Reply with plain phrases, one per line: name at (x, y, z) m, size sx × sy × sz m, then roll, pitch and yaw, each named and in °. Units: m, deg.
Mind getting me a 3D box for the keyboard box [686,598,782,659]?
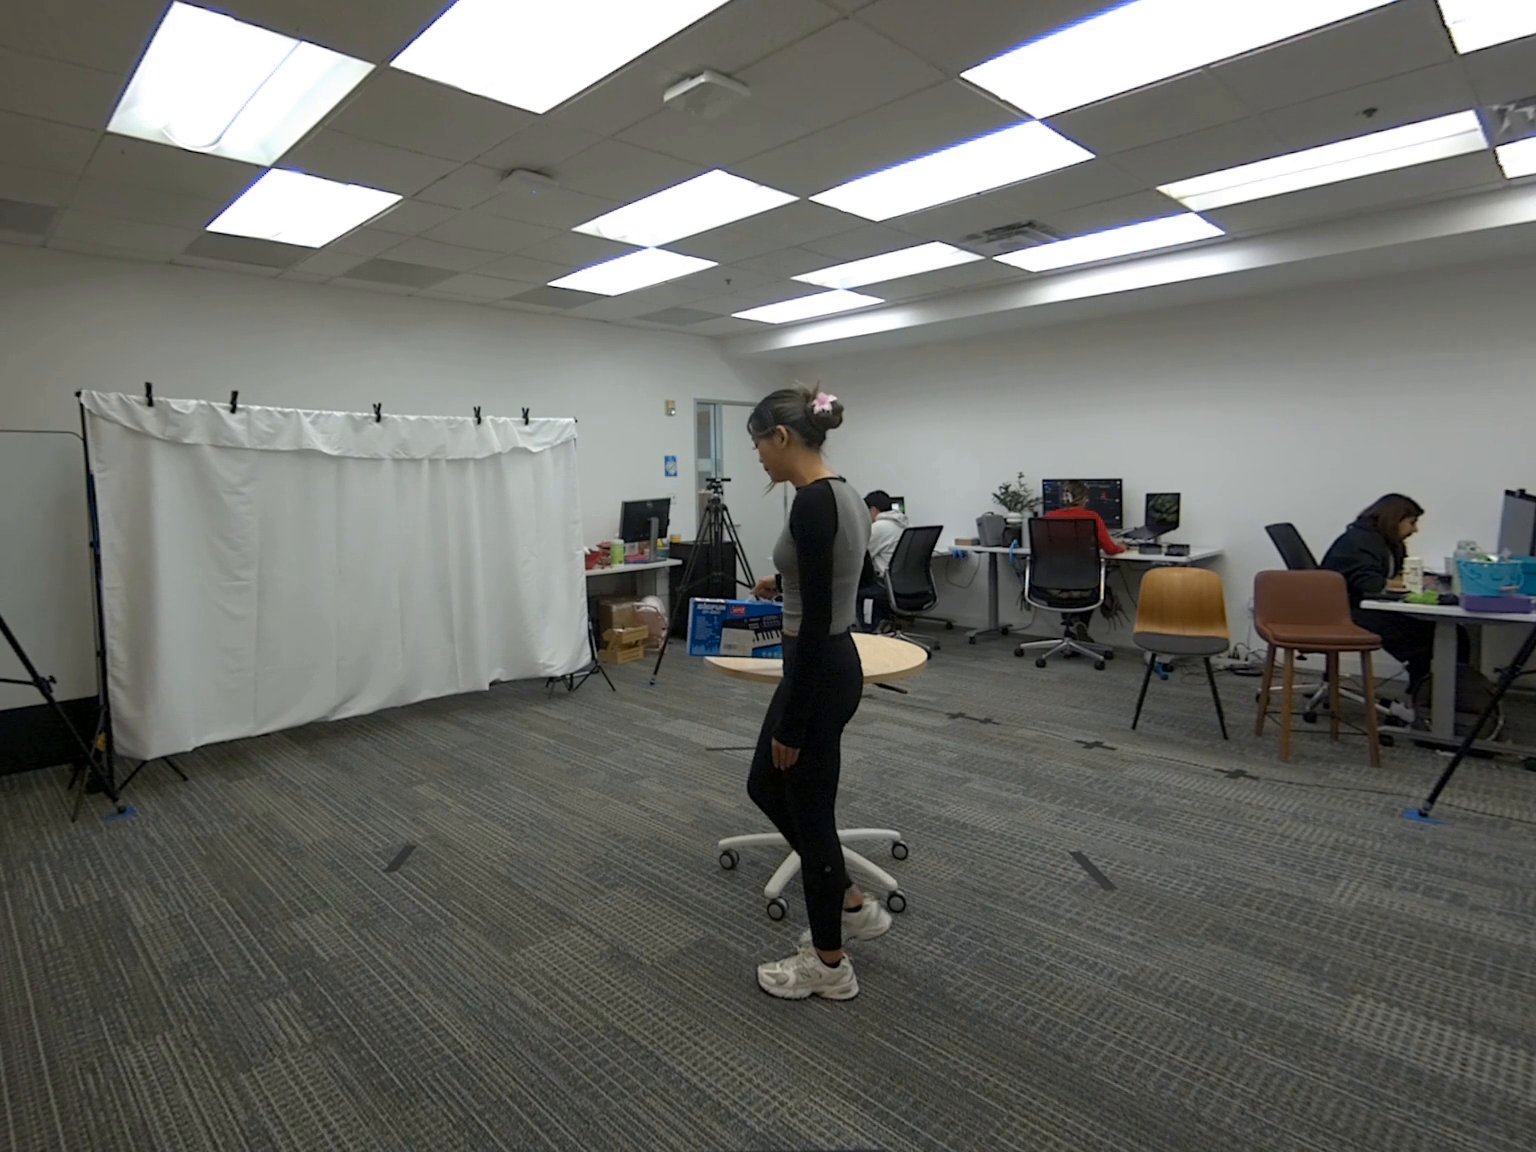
keyboard box at (-0.027, 0.171, 2.669) m, size 0.432 × 0.175 × 0.060 m, roll 3°, pitch 5°, yaw -10°
